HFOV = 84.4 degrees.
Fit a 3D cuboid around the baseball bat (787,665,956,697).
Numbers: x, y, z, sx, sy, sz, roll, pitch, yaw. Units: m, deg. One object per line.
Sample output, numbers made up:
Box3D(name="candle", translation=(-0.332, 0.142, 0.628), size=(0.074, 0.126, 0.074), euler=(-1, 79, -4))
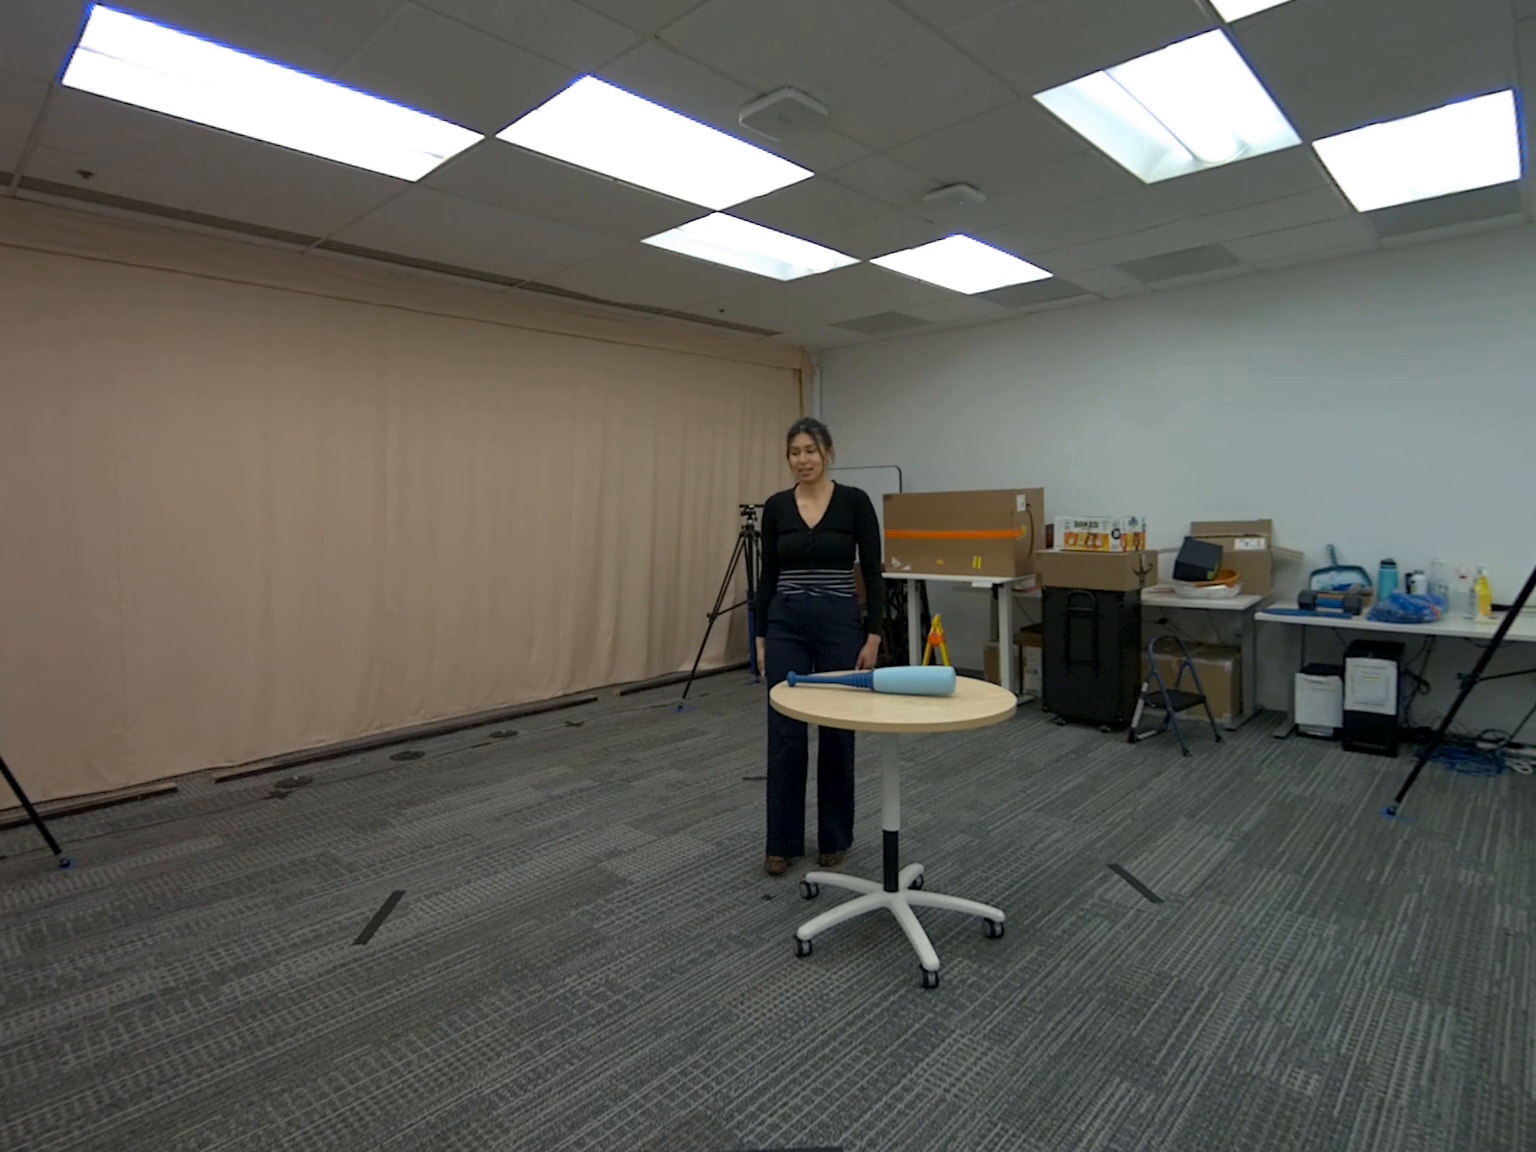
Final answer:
Box3D(name="baseball bat", translation=(0.330, 0.337, 2.718), size=(0.555, 0.089, 0.087), euler=(-2, 3, 21))
